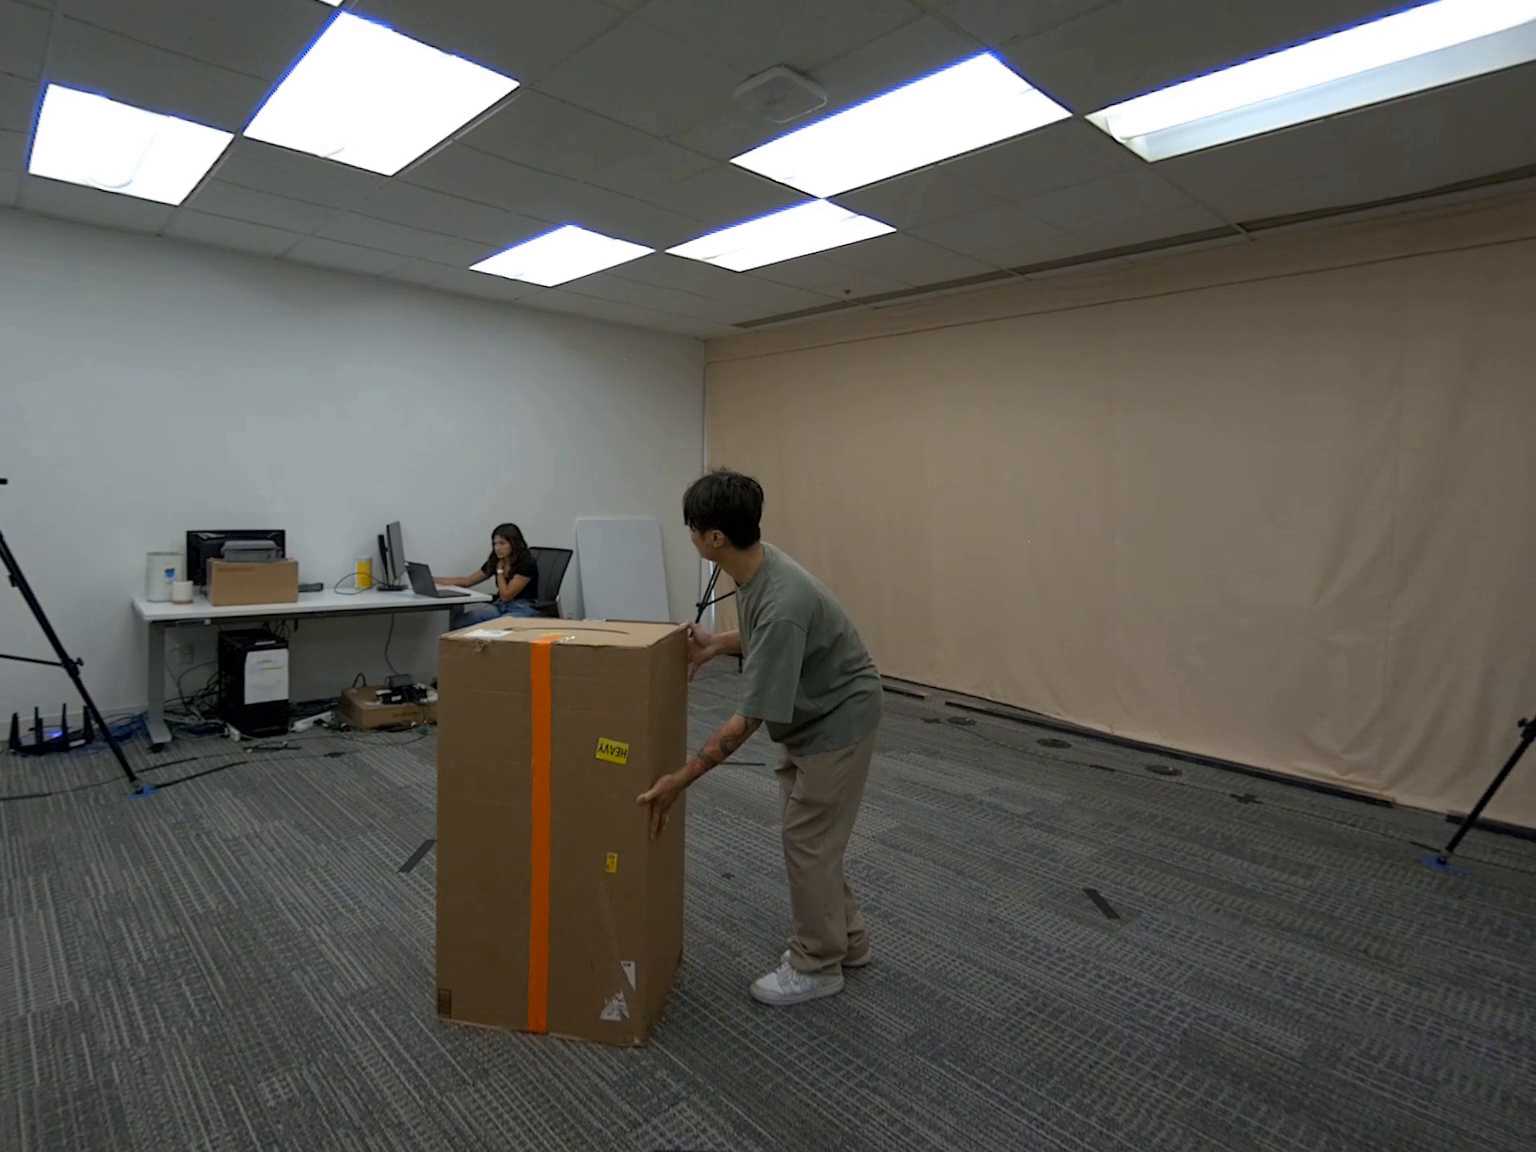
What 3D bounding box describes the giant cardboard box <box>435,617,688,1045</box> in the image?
[{"bbox_3d":[-0.559,0.657,2.356,0.582,1.024,0.424,2,3,9],"label":"giant cardboard box"}]
